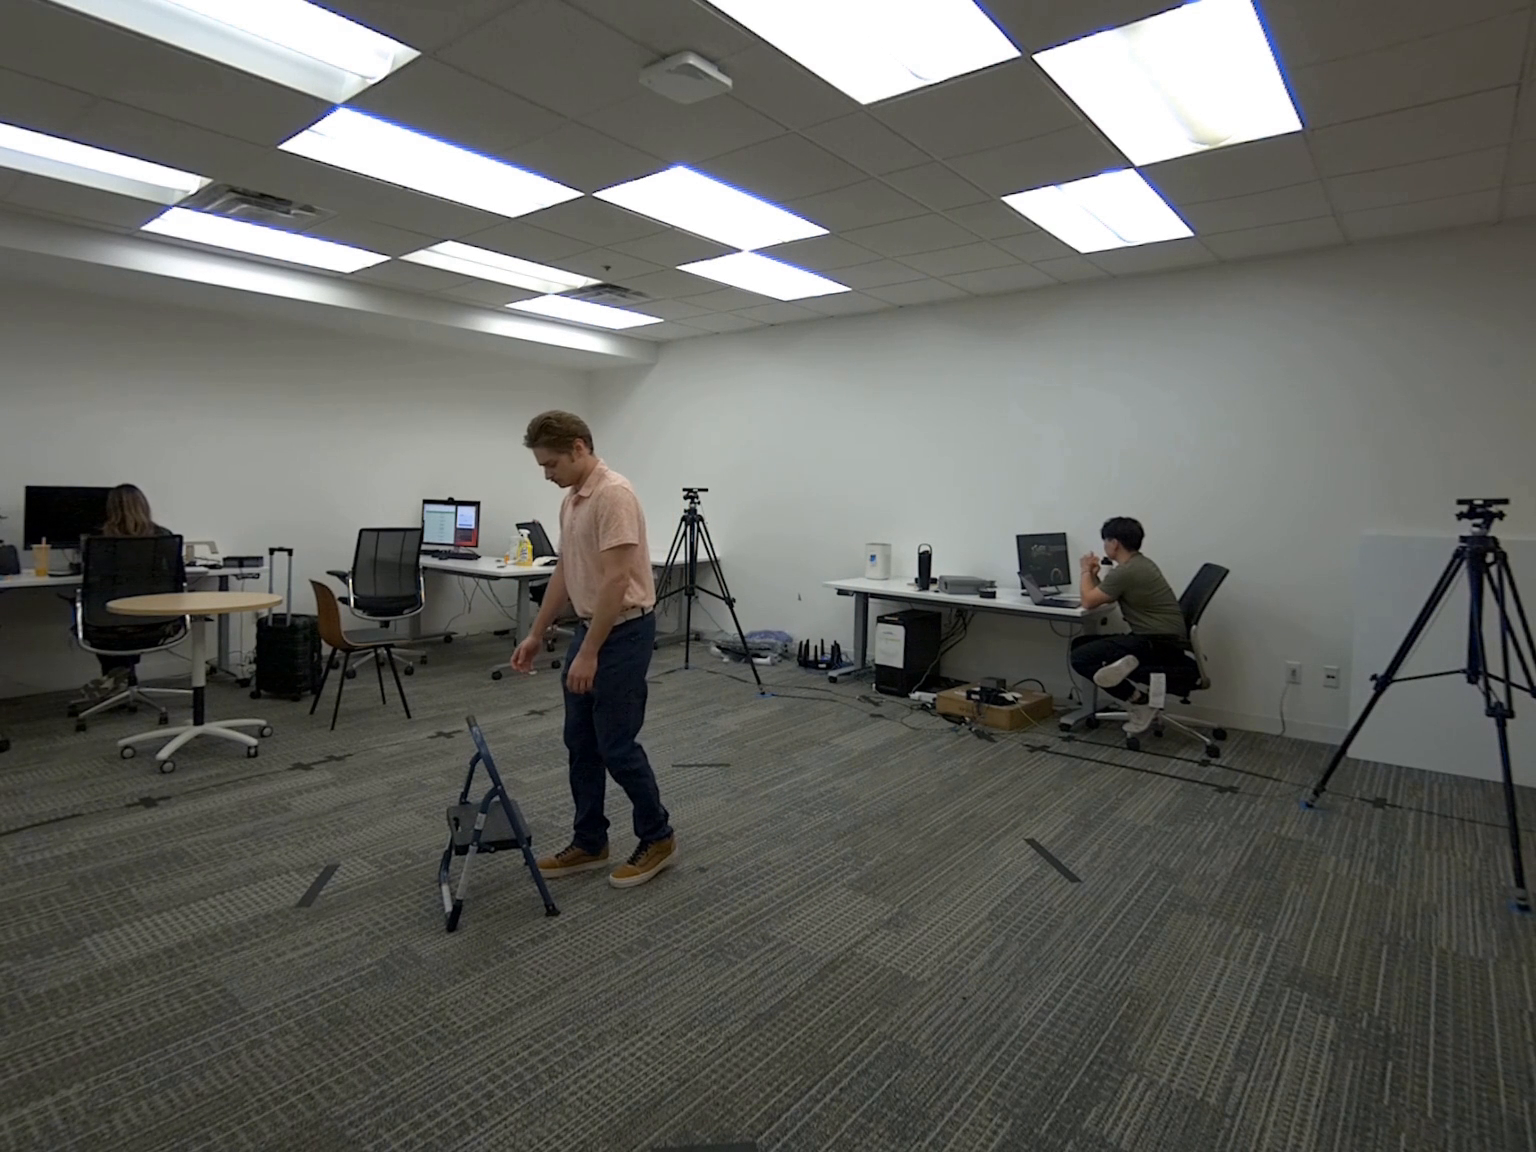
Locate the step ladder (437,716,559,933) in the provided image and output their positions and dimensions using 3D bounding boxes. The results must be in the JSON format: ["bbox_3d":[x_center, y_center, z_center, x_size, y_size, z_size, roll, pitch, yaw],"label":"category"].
[{"bbox_3d":[-0.930,0.780,2.873,0.341,0.604,0.442,0,4,-25],"label":"step ladder"}]
